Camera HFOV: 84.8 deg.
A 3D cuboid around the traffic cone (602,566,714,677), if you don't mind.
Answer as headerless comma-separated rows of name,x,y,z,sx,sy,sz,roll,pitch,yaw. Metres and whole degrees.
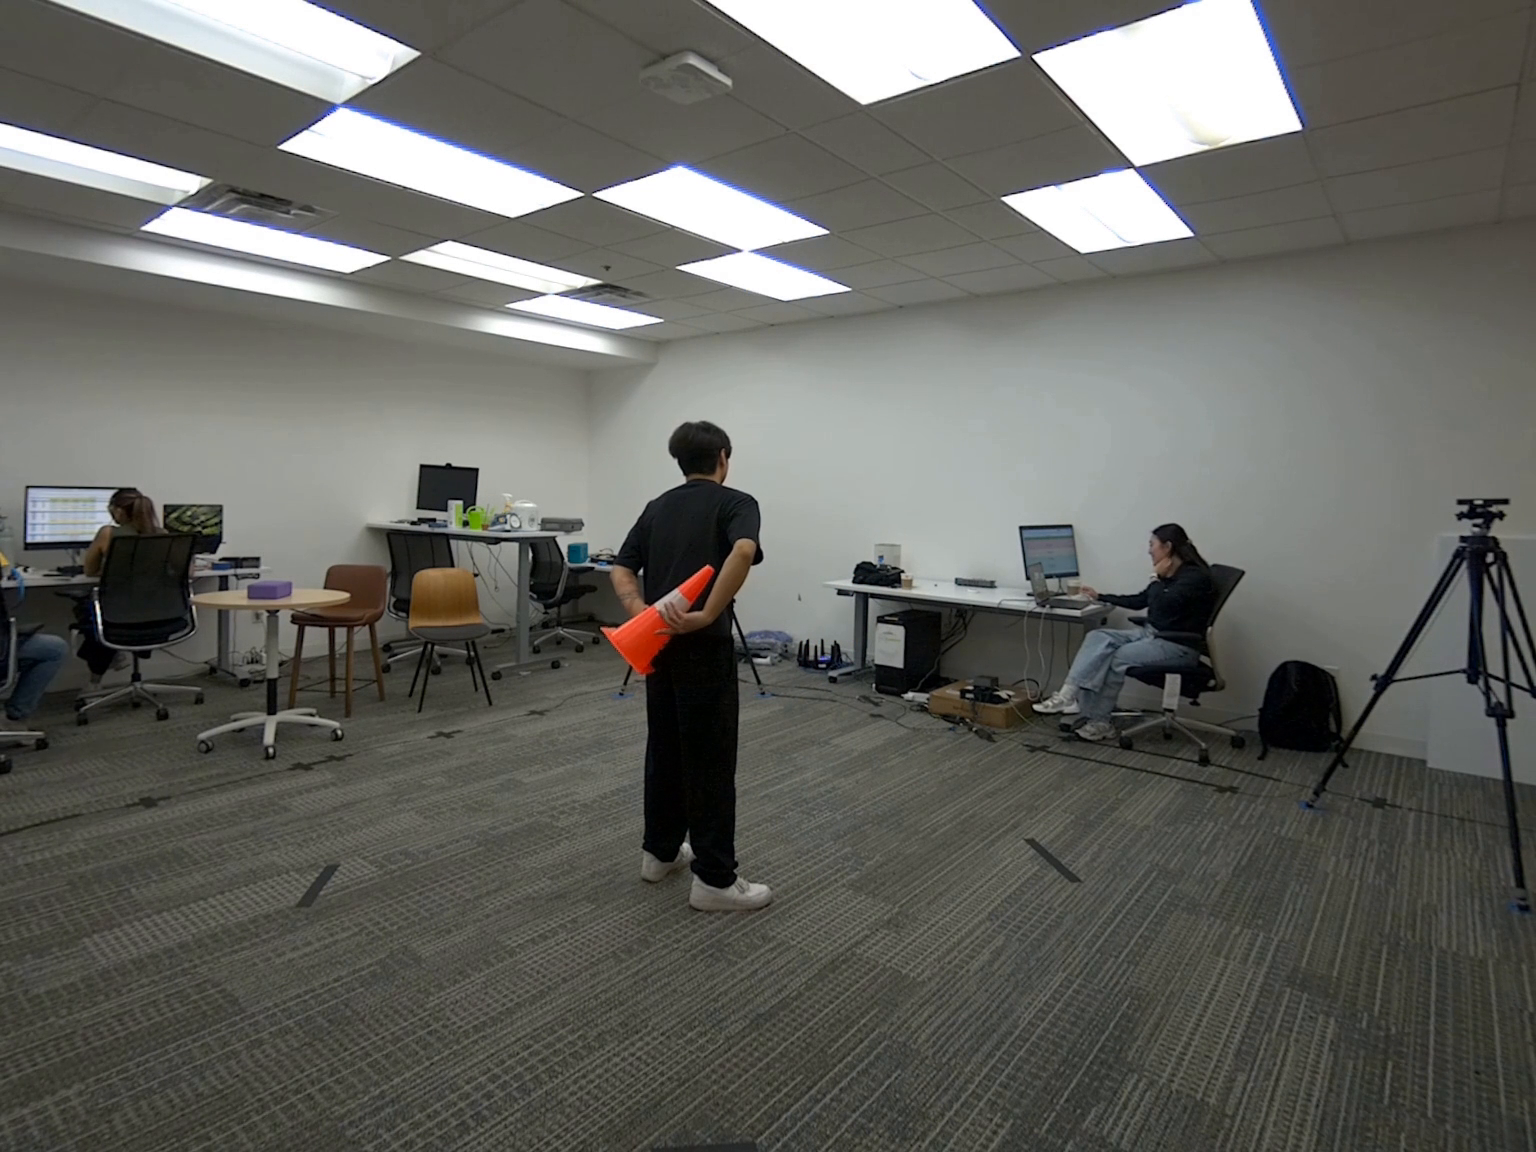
traffic cone,-0.329,0.107,2.722,0.208,0.384,0.201,46,3,8
